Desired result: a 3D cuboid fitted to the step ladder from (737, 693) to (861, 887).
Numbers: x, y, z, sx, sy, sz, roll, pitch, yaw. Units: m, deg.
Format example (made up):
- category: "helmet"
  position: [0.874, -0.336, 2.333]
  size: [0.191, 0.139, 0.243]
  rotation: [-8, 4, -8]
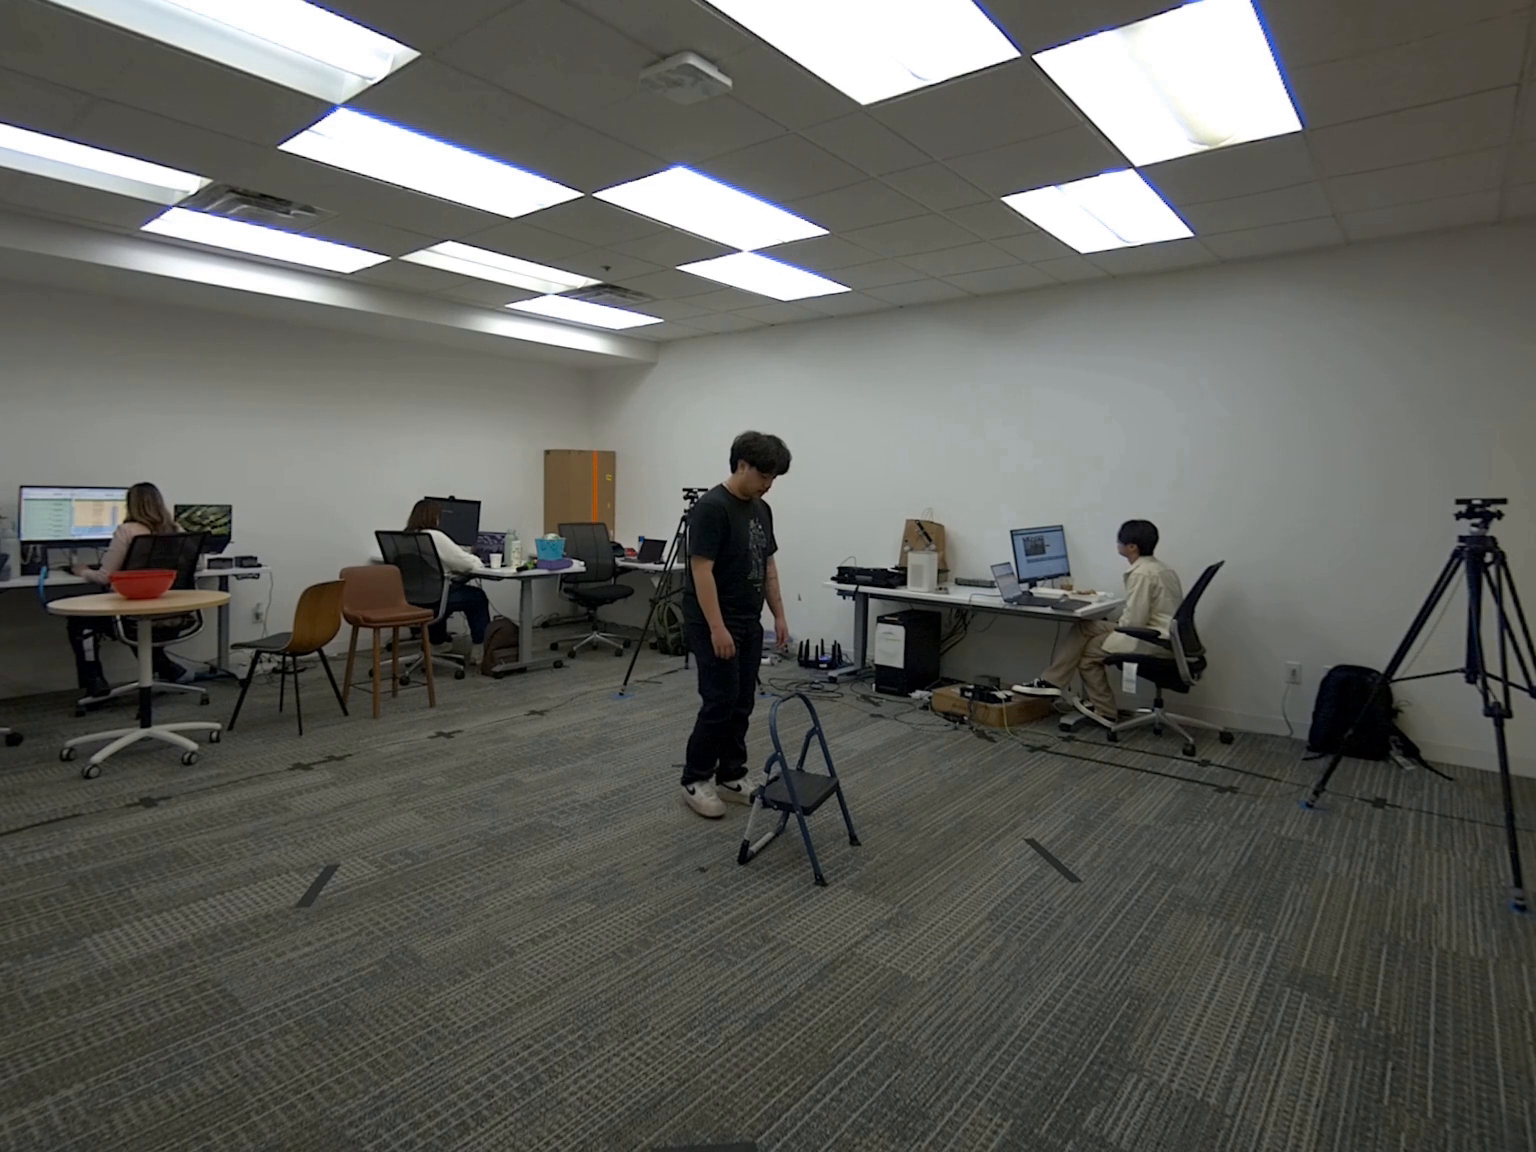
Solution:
- category: "step ladder"
  position: [0.128, 0.761, 3.242]
  size: [0.358, 0.604, 0.421]
  rotation: [4, 5, 24]
